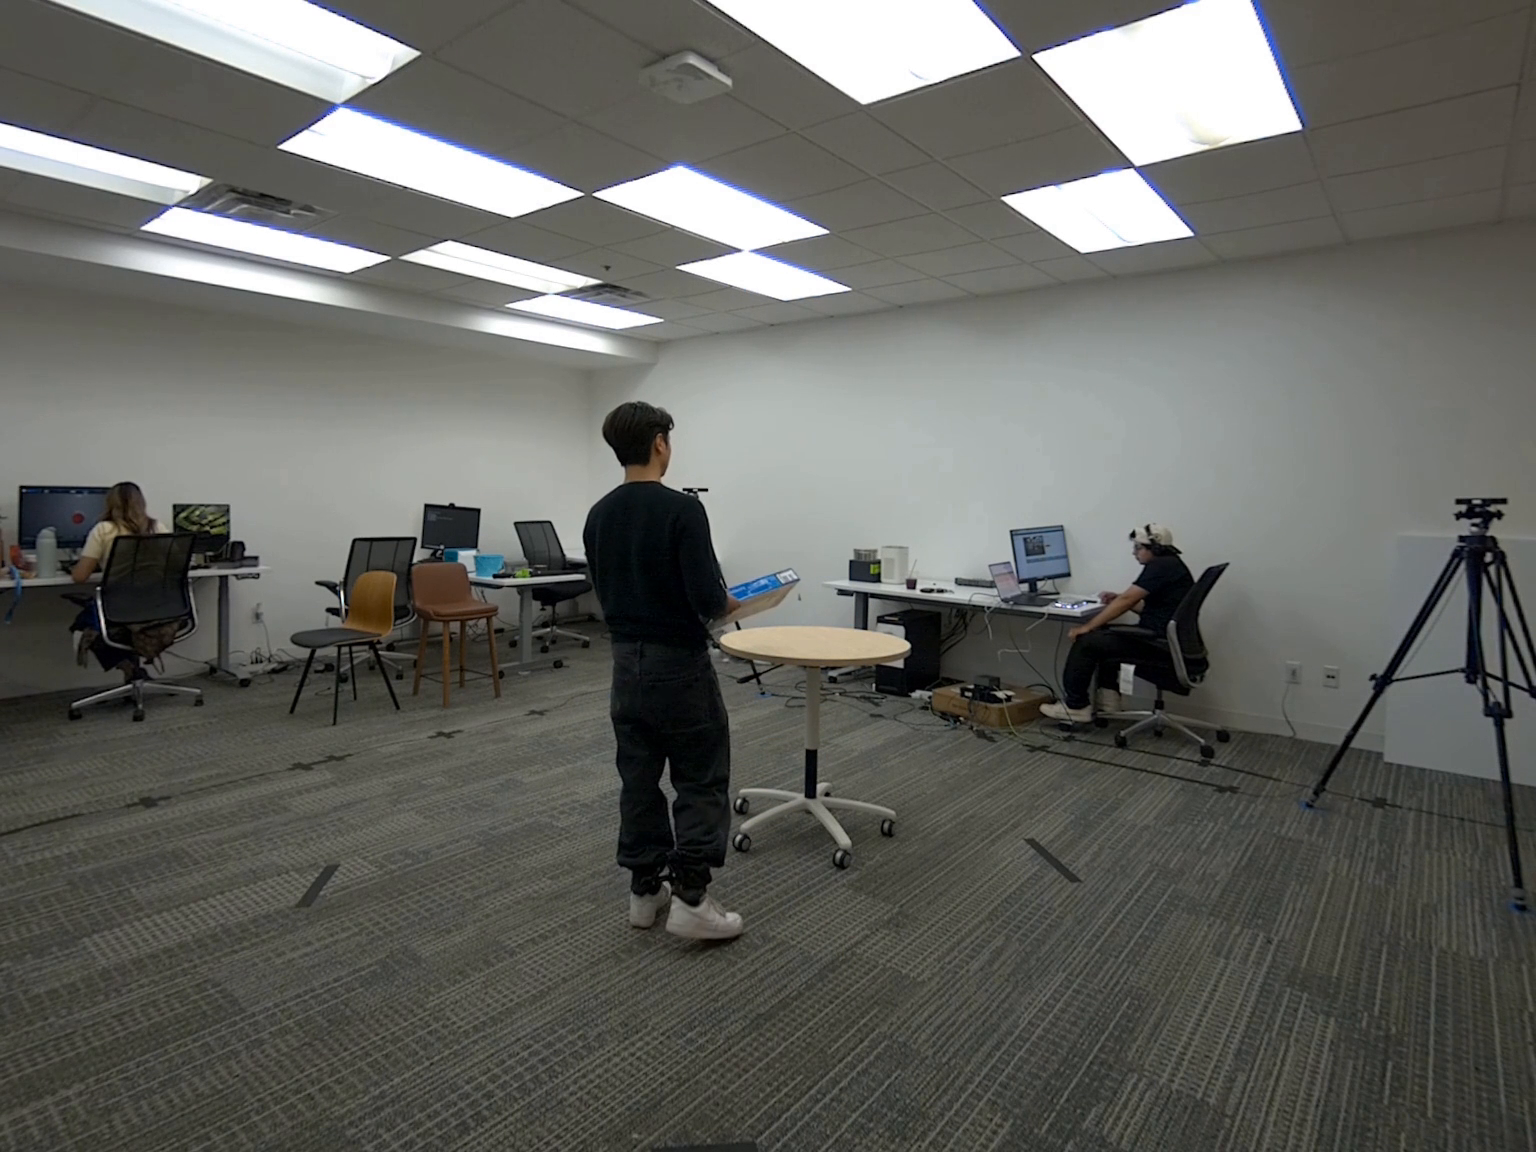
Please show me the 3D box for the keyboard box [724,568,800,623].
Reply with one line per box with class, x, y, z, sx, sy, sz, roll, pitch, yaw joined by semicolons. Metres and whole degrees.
keyboard box;-0.088;0.085;3.045;0.427;0.060;0.175;-18;-24;-45
